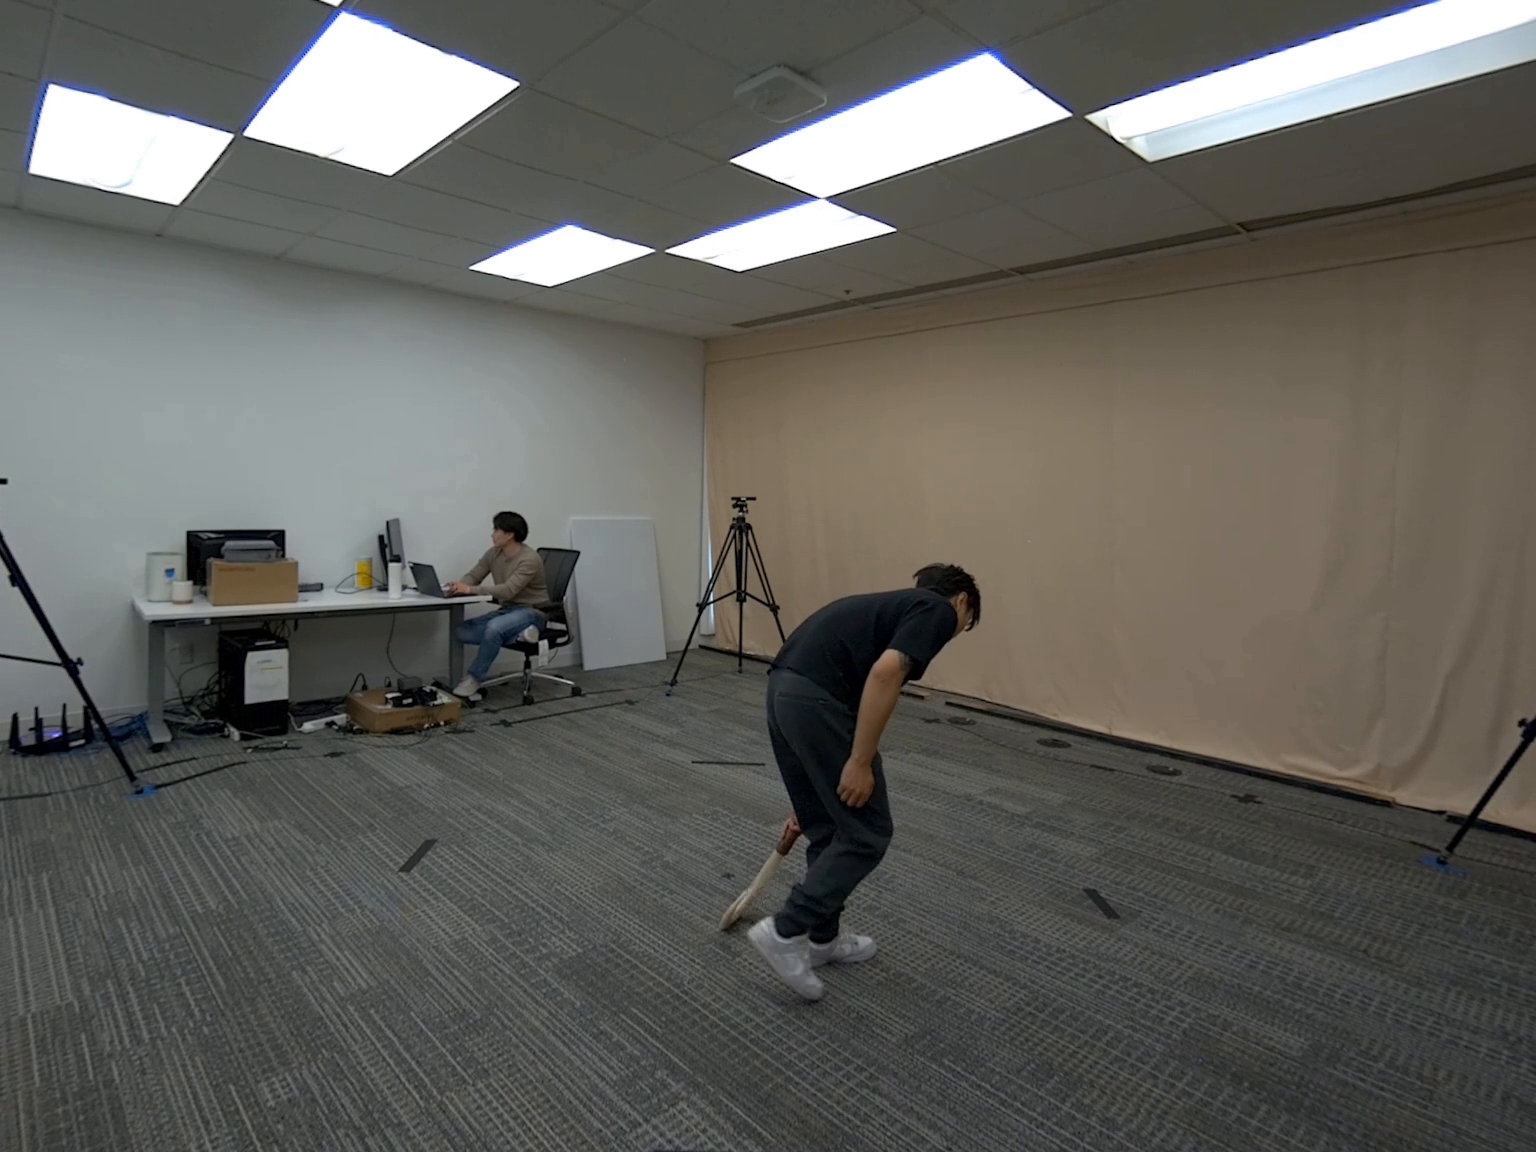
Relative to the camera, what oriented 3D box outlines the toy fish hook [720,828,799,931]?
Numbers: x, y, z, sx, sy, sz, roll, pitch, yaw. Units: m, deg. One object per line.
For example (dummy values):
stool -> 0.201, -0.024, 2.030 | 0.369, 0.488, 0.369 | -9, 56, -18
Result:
toy fish hook -> -0.010, 0.935, 2.679 | 0.049, 0.505, 0.221 | 35, 15, 14
